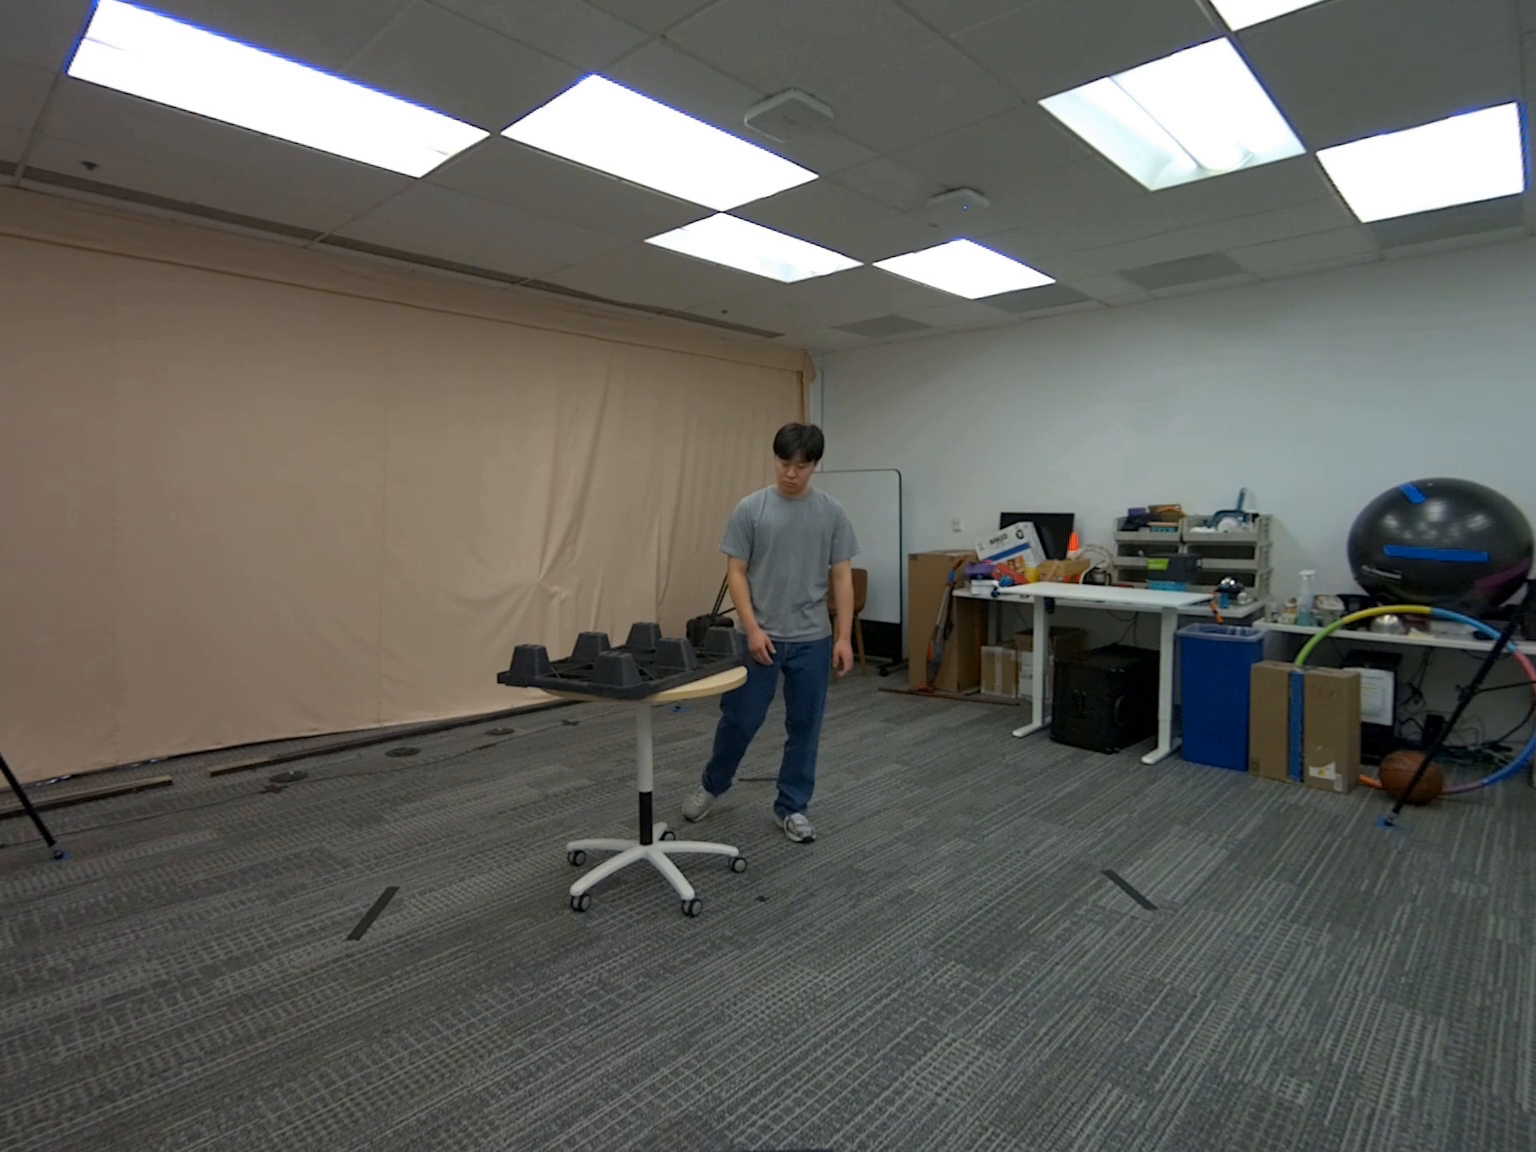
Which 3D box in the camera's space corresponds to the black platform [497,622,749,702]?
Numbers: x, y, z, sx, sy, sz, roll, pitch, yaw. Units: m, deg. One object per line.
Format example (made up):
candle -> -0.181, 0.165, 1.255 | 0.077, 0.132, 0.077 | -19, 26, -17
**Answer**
black platform -> -0.497, 0.292, 3.092 | 0.622, 0.143, 0.785 | 1, 4, 29
